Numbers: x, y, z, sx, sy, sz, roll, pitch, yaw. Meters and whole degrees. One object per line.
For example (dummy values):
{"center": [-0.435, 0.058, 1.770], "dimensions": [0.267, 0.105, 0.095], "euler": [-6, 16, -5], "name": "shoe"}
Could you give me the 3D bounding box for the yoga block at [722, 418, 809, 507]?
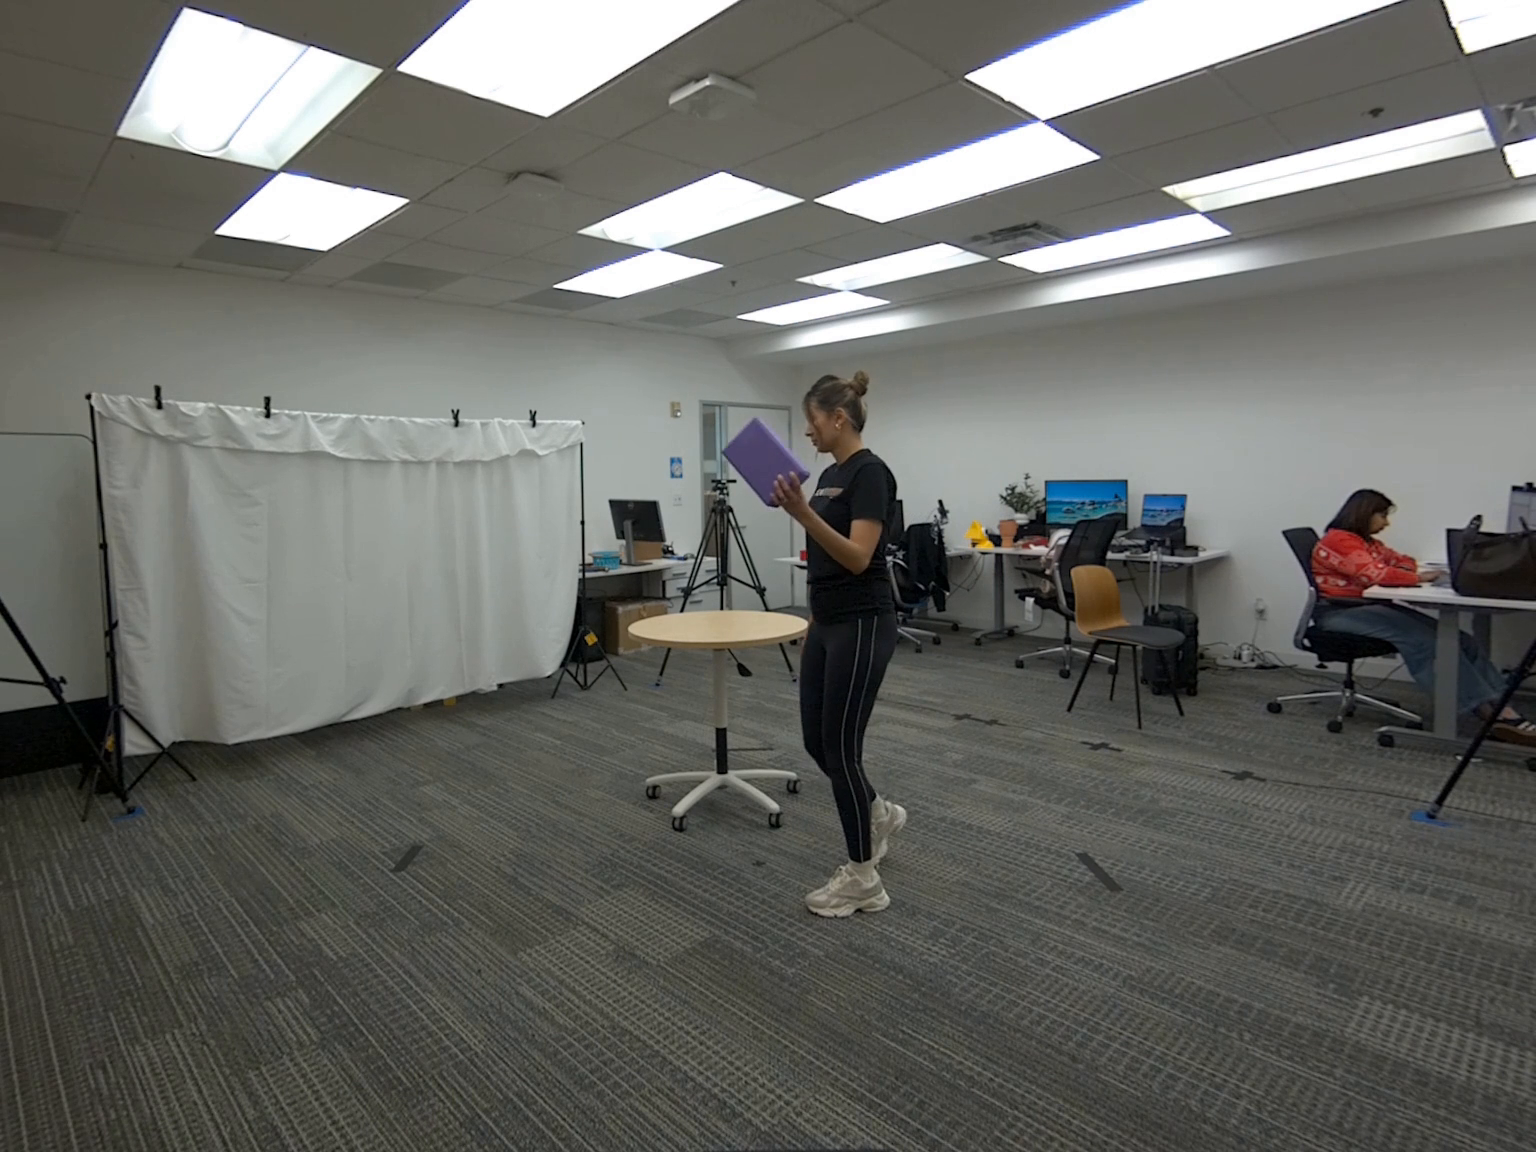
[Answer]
{"center": [-0.004, -0.326, 2.480], "dimensions": [0.149, 0.234, 0.075], "euler": [-45, -18, 19], "name": "yoga block"}
